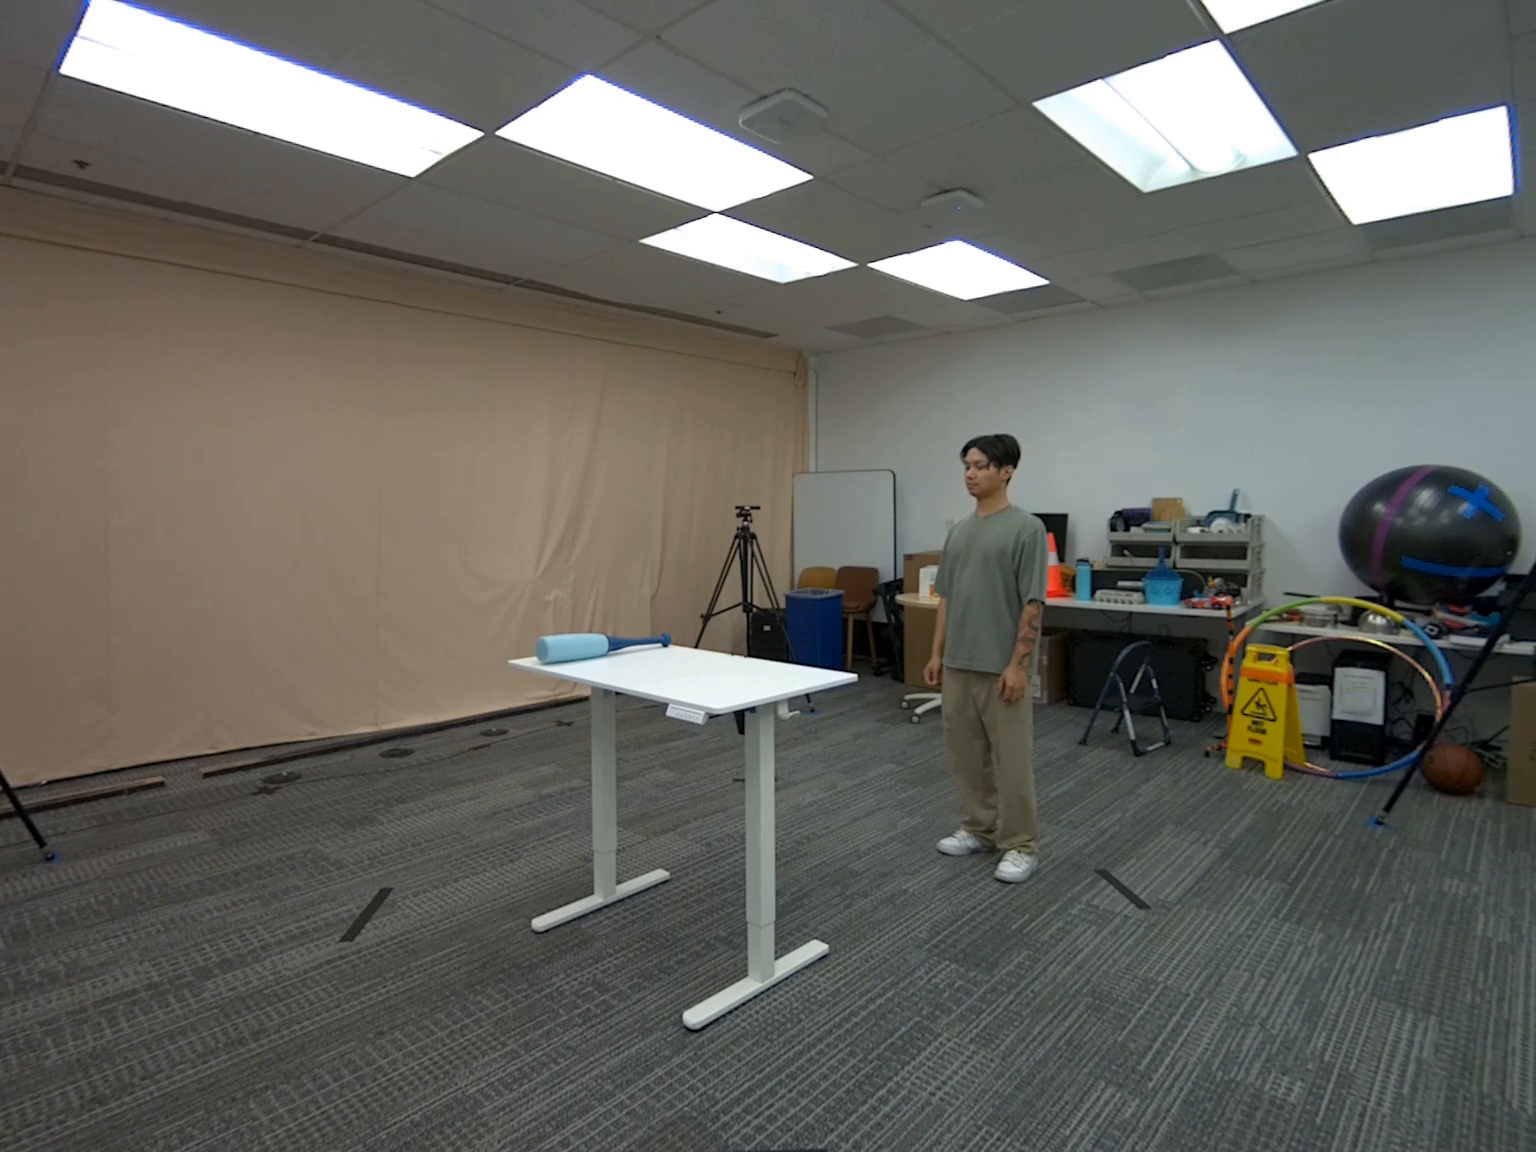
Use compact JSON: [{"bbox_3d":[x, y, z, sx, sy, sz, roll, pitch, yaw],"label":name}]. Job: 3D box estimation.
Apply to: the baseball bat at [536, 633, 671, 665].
[{"bbox_3d":[-0.561,0.239,2.906,0.092,0.089,0.526,4,3,44],"label":"baseball bat"}]
